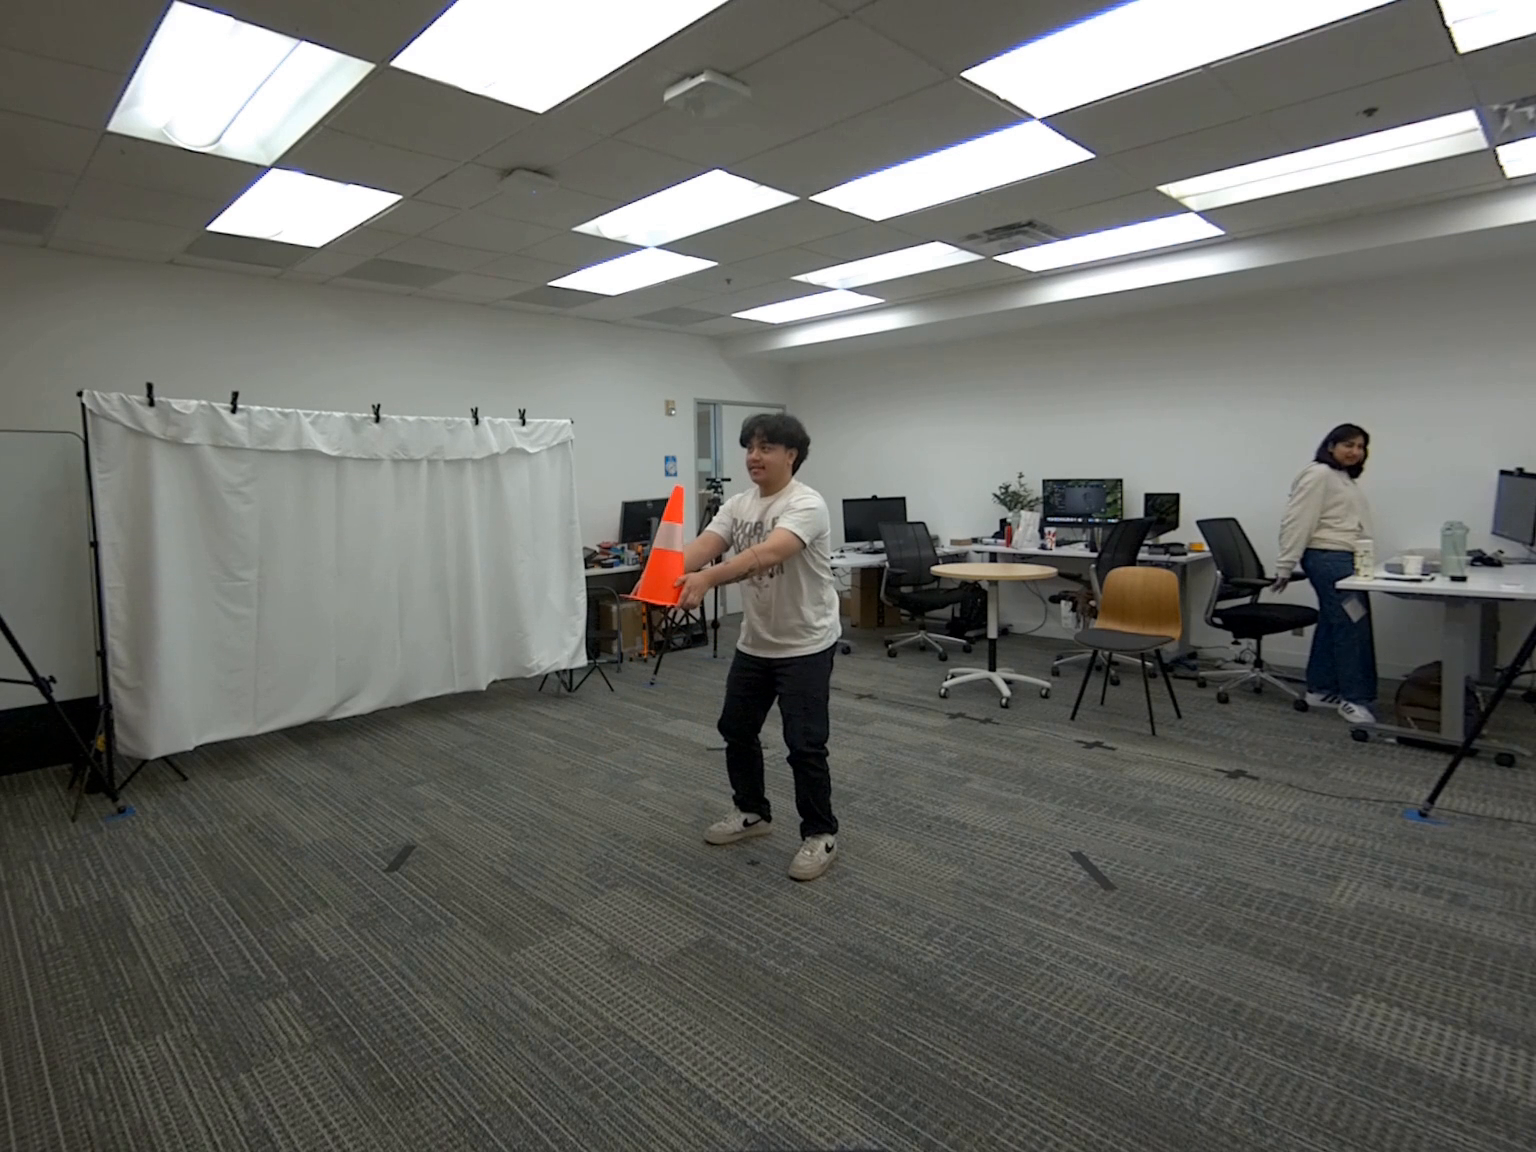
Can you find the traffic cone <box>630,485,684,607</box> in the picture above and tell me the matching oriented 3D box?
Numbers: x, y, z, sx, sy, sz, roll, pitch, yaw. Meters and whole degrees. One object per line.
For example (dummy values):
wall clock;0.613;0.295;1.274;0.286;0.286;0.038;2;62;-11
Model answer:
traffic cone;-0.317;-0.104;2.771;0.210;0.384;0.198;6;-2;26
